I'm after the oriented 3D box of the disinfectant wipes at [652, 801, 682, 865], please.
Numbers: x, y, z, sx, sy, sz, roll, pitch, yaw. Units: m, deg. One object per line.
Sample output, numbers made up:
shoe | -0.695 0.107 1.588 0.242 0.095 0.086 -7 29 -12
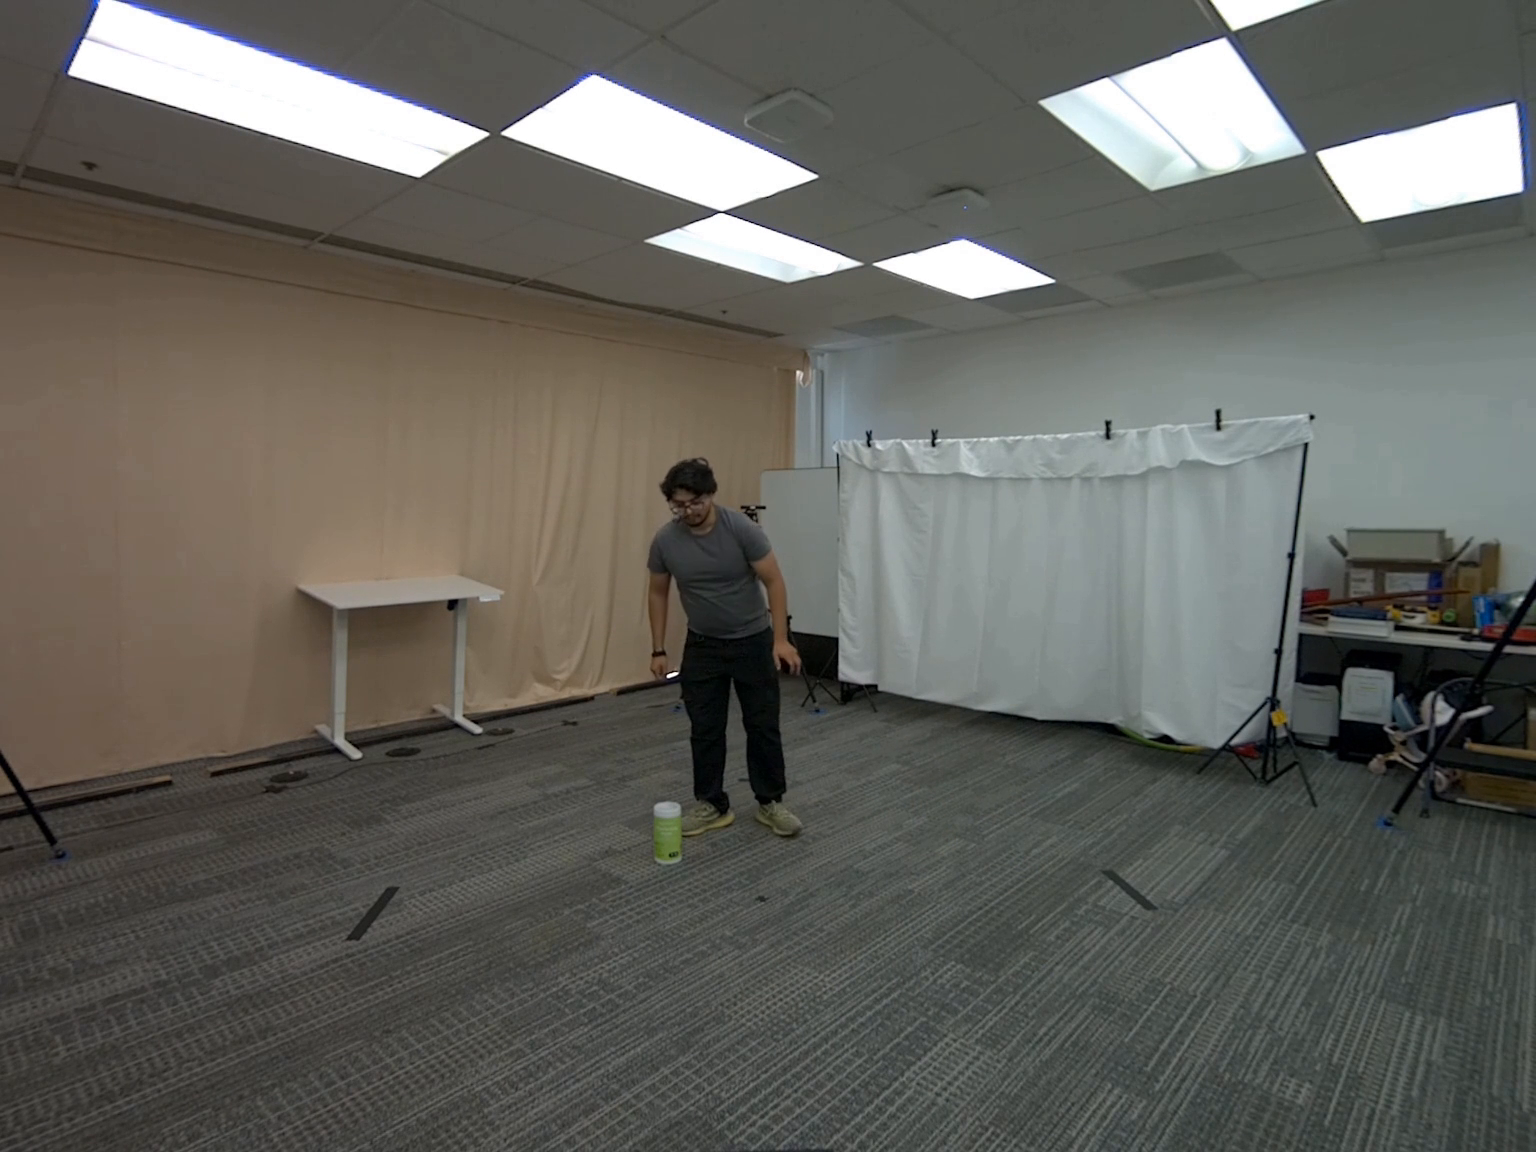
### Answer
disinfectant wipes | -0.401 1.014 3.312 0.117 0.217 0.118 3 6 -2
